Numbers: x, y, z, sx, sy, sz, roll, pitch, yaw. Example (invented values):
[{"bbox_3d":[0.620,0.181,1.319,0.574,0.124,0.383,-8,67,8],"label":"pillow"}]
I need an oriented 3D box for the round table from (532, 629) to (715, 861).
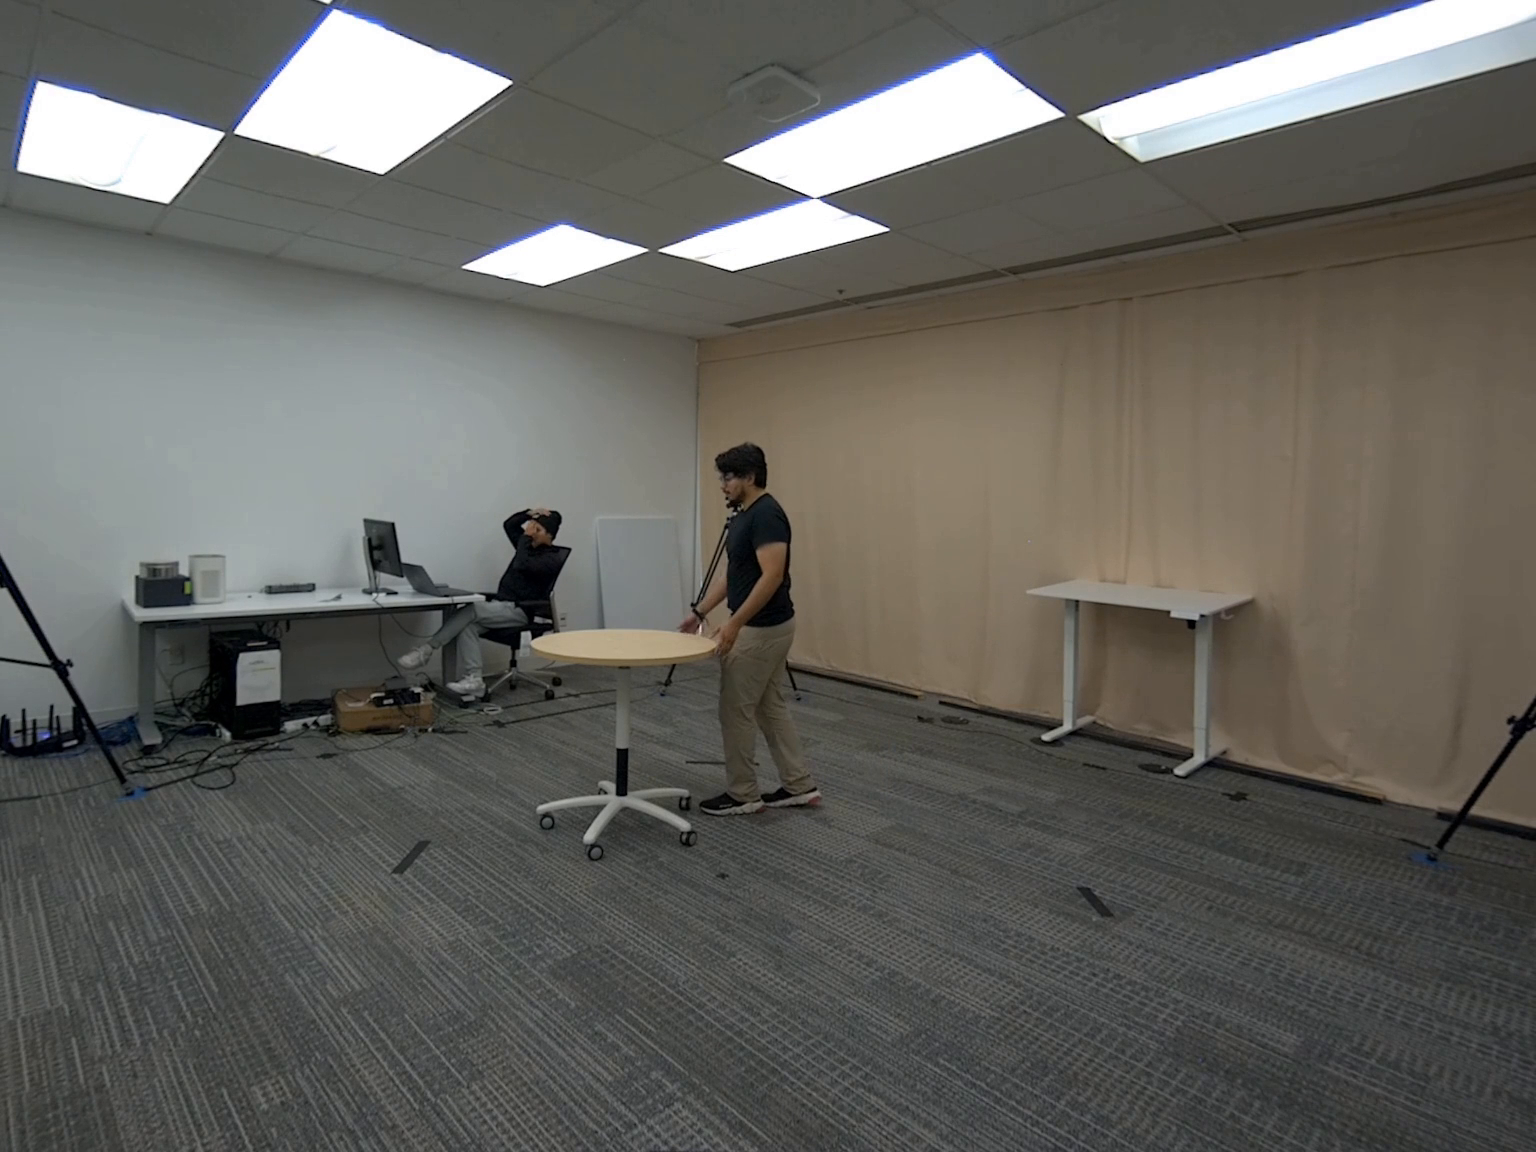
[{"bbox_3d":[-0.616,0.667,3.504,0.784,0.785,0.787,1,4,-1],"label":"round table"}]
